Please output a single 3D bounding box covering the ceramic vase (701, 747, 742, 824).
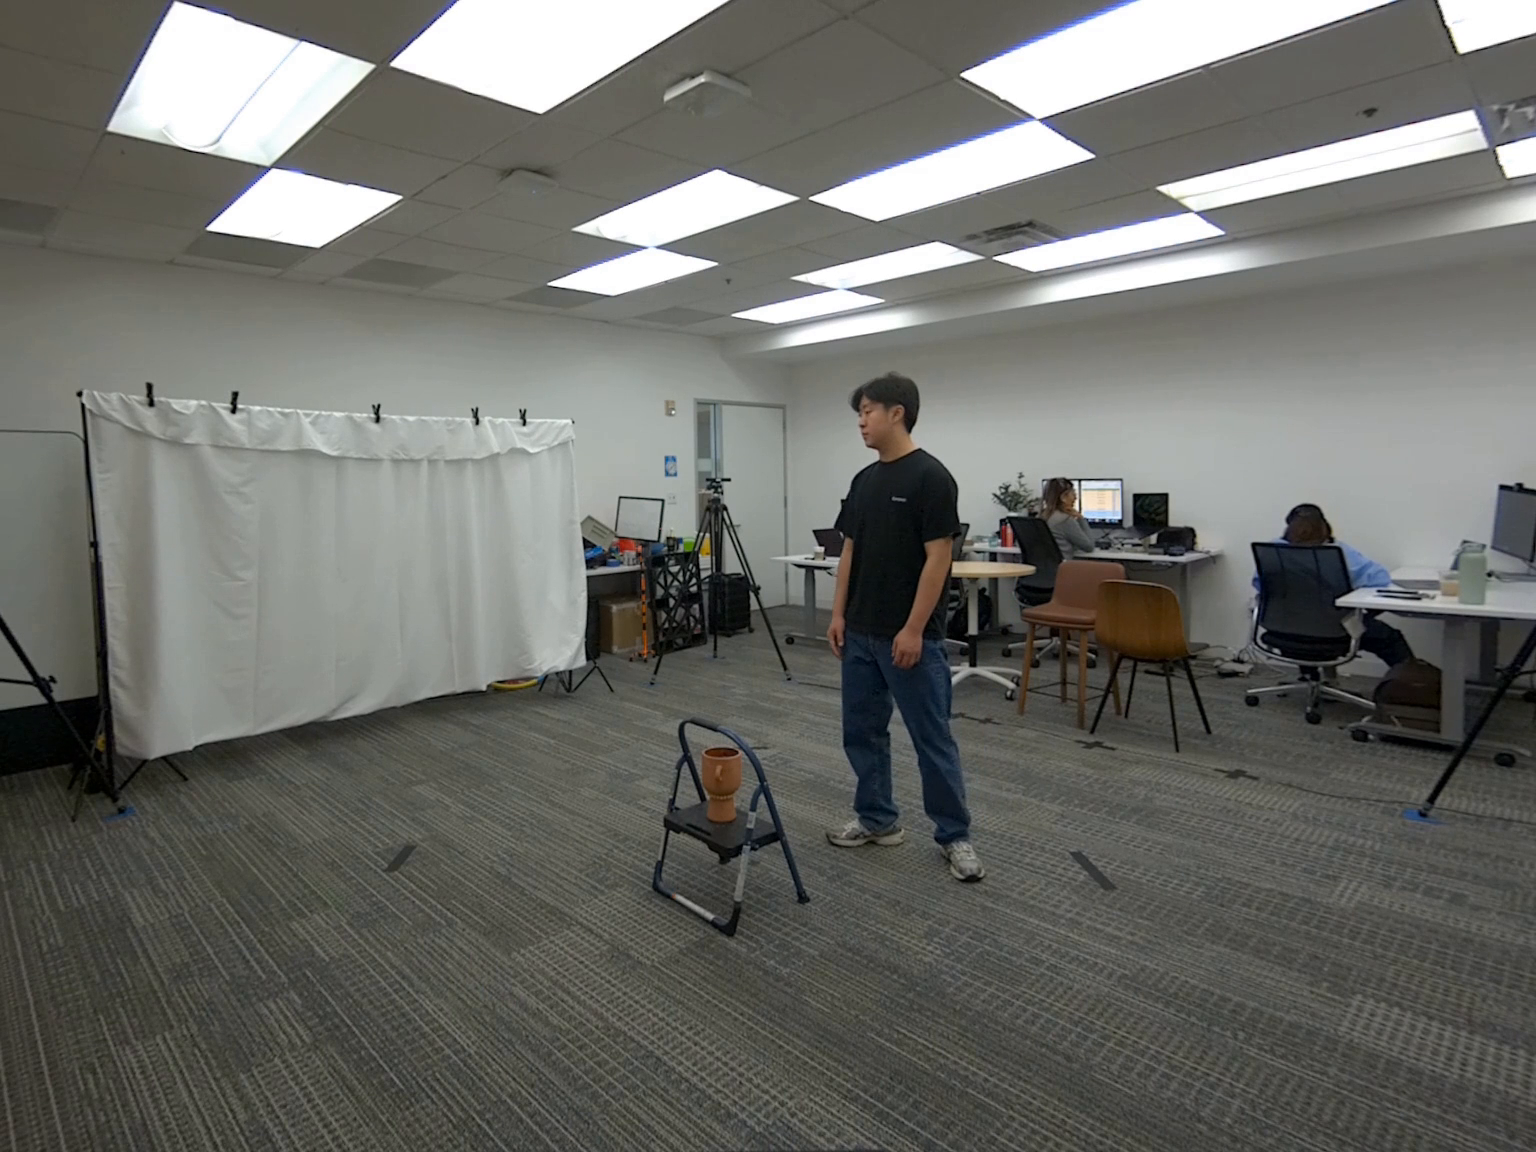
[{"bbox_3d":[-0.154,0.700,2.862,0.154,0.219,0.139,-4,6,-45],"label":"ceramic vase"}]
